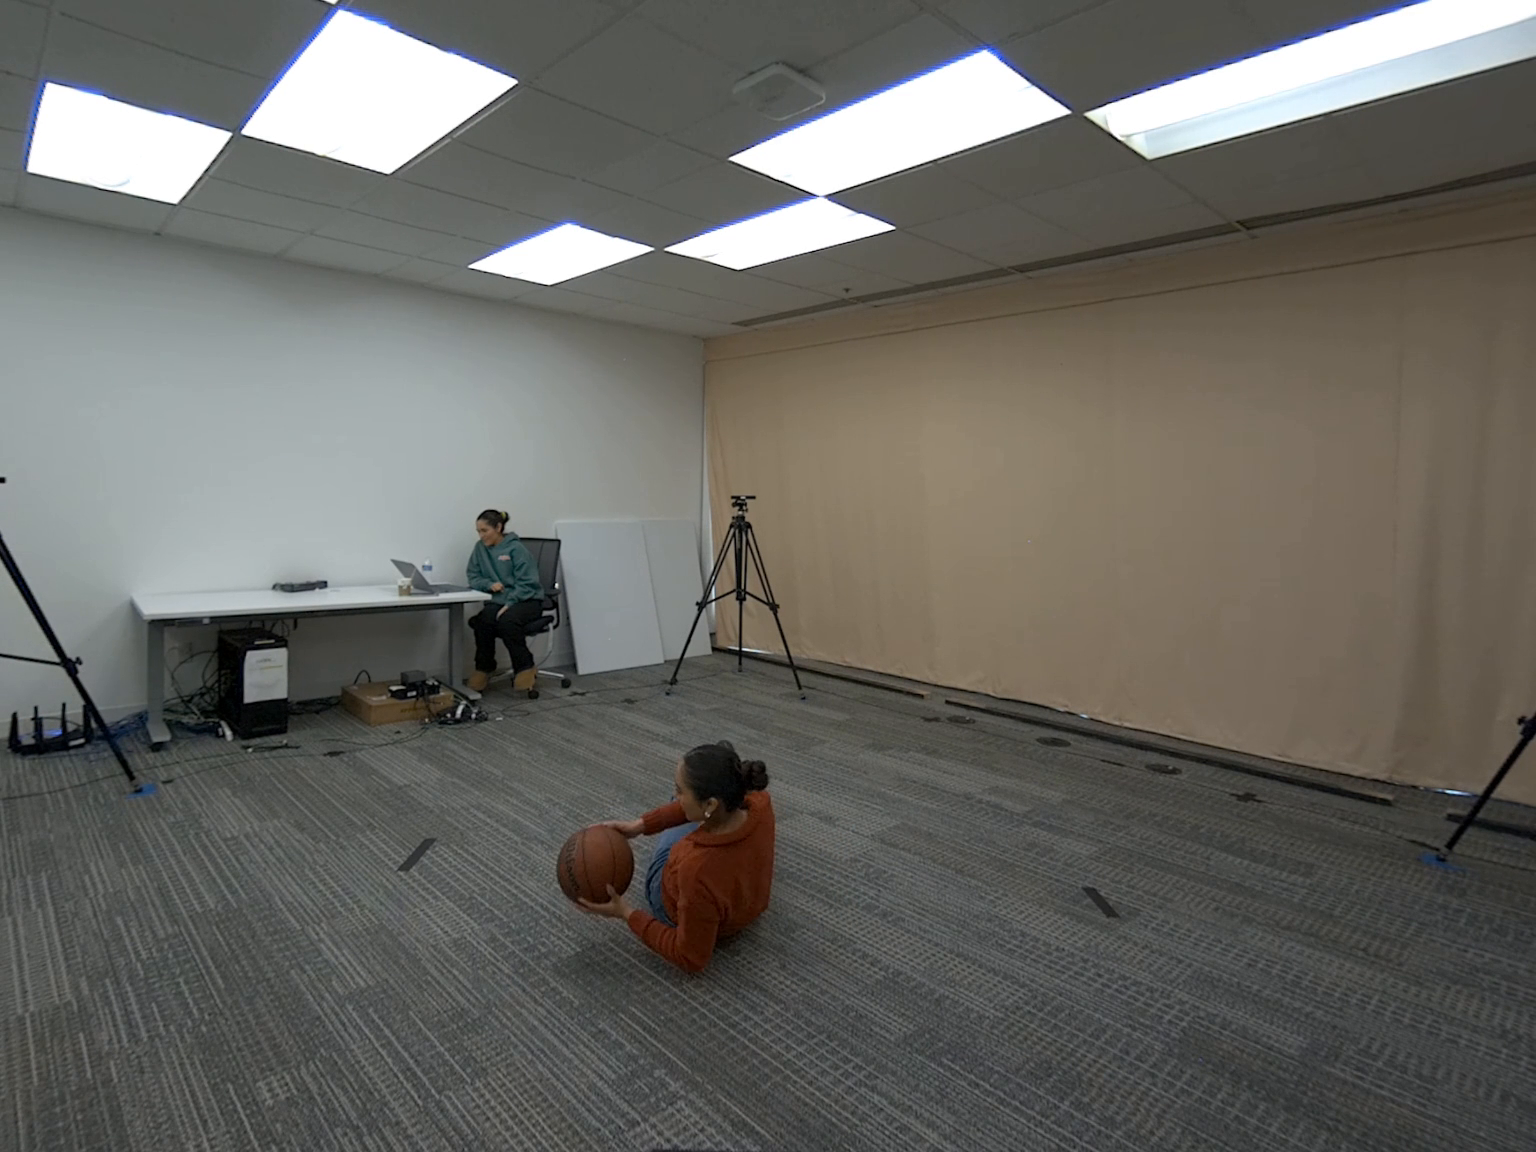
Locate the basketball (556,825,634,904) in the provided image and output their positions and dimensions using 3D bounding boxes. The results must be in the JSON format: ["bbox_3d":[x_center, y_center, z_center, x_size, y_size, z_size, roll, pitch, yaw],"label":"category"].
[{"bbox_3d":[-0.519,0.873,2.591,0.236,0.235,0.237,1,4,-1],"label":"basketball"}]
